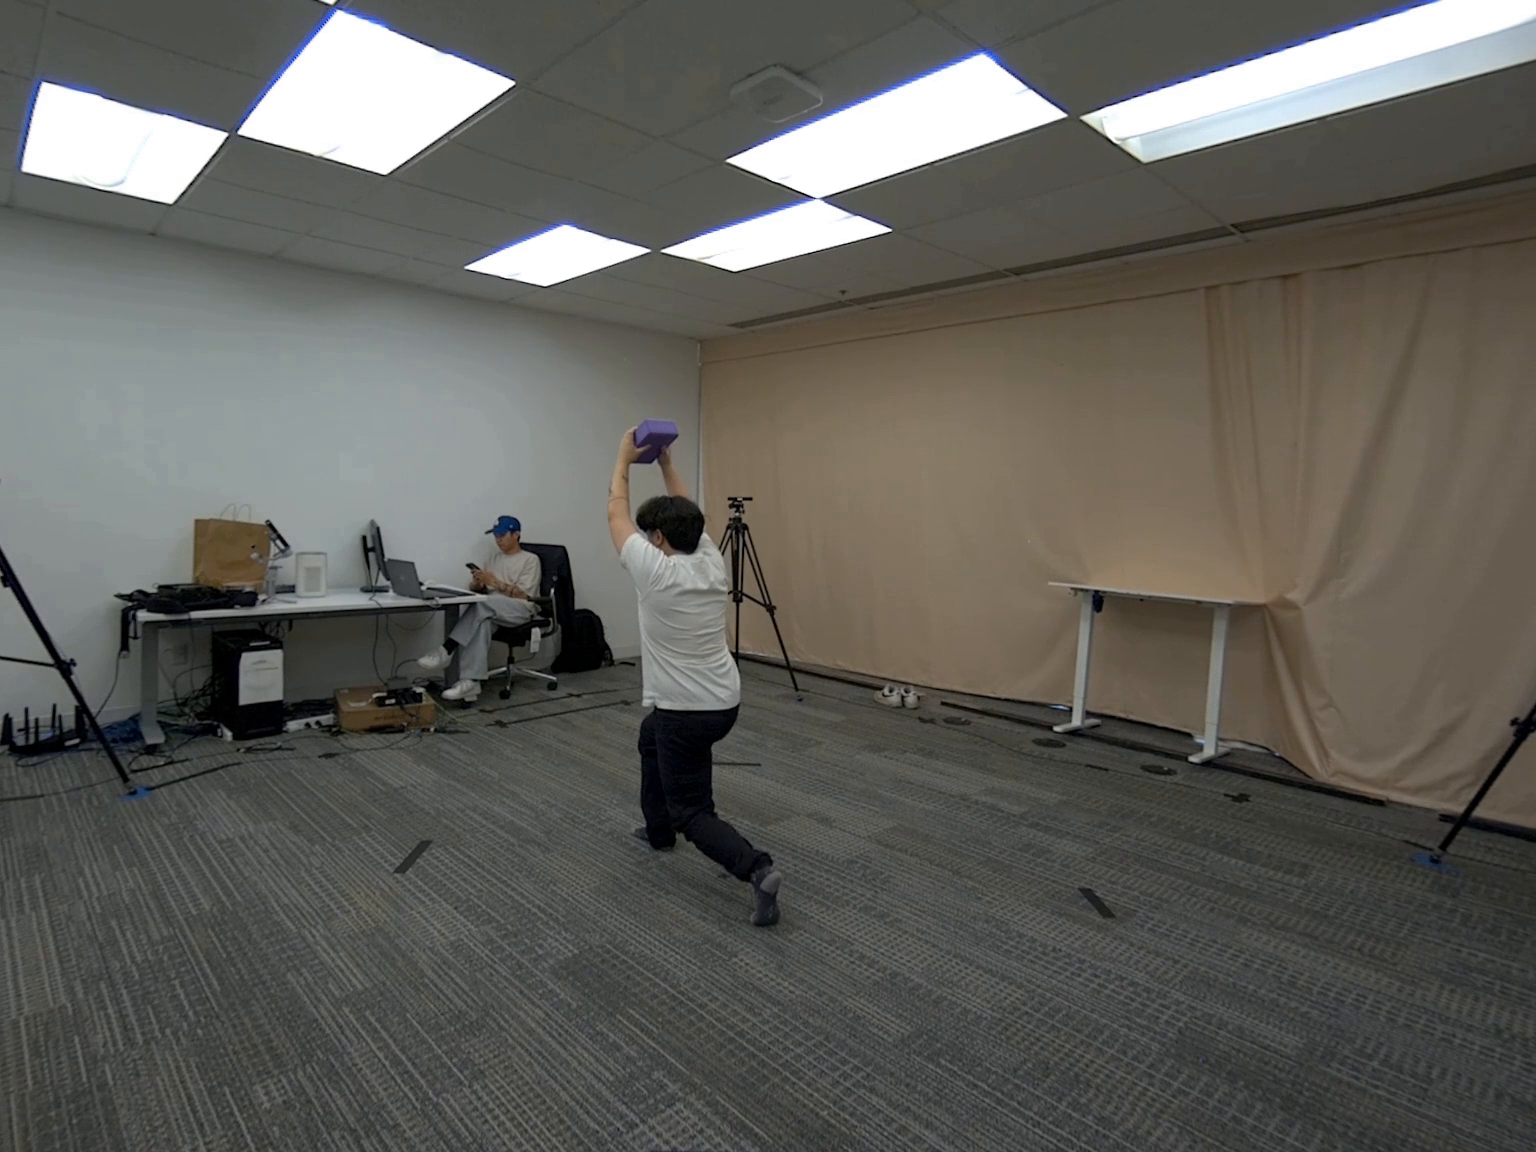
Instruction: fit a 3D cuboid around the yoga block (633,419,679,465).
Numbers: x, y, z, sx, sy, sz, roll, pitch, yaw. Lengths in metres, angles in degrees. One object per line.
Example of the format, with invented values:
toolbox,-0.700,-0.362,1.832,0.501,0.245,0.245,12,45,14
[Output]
yoga block,-0.483,-0.537,3.376,0.146,0.078,0.231,-4,-21,-41
